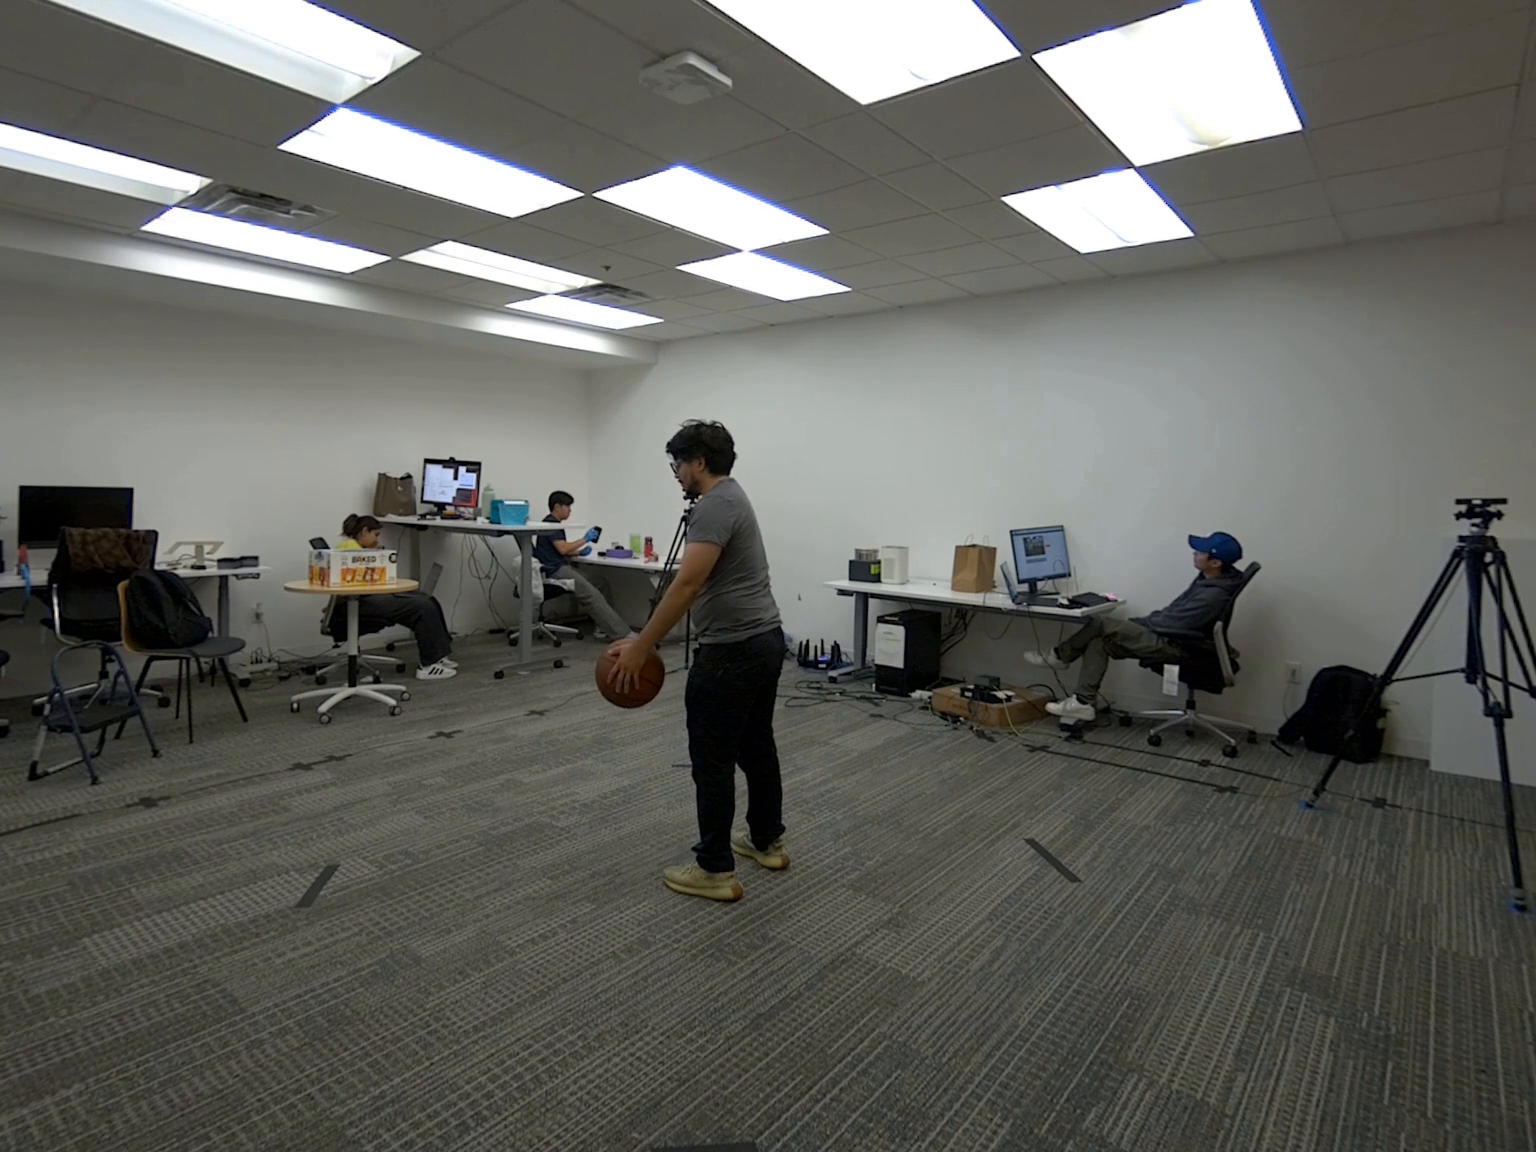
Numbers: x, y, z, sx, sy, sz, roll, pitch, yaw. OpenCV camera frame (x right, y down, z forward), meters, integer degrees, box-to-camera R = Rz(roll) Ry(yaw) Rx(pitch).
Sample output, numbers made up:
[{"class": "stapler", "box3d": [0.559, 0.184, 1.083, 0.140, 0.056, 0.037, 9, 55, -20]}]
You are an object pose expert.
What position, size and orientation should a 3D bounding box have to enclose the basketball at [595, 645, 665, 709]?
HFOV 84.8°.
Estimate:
[{"class": "basketball", "box3d": [-0.482, 0.329, 2.927, 0.235, 0.235, 0.237, 1, 4, -2]}]
